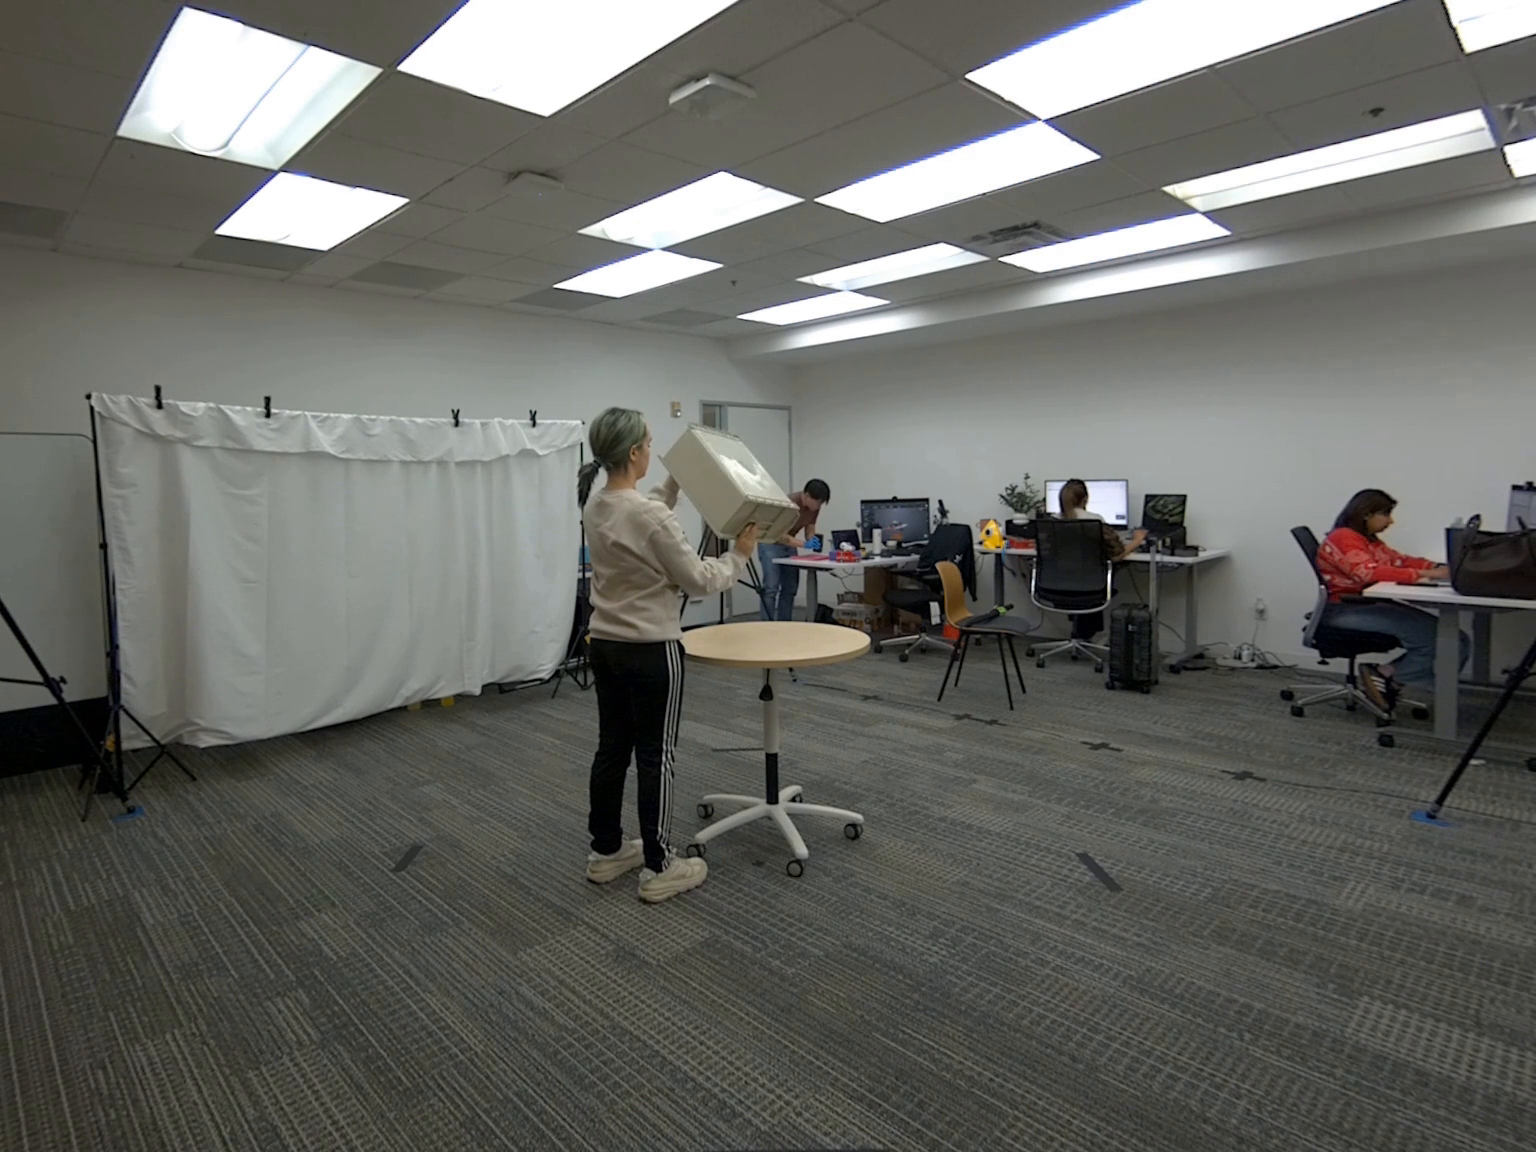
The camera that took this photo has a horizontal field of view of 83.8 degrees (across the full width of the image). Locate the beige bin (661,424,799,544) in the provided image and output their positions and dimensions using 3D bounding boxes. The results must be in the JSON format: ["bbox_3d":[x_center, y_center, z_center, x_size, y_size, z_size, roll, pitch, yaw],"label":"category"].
[{"bbox_3d":[-0.123,-0.332,3.147,0.366,0.189,0.436,6,41,-56],"label":"beige bin"}]
